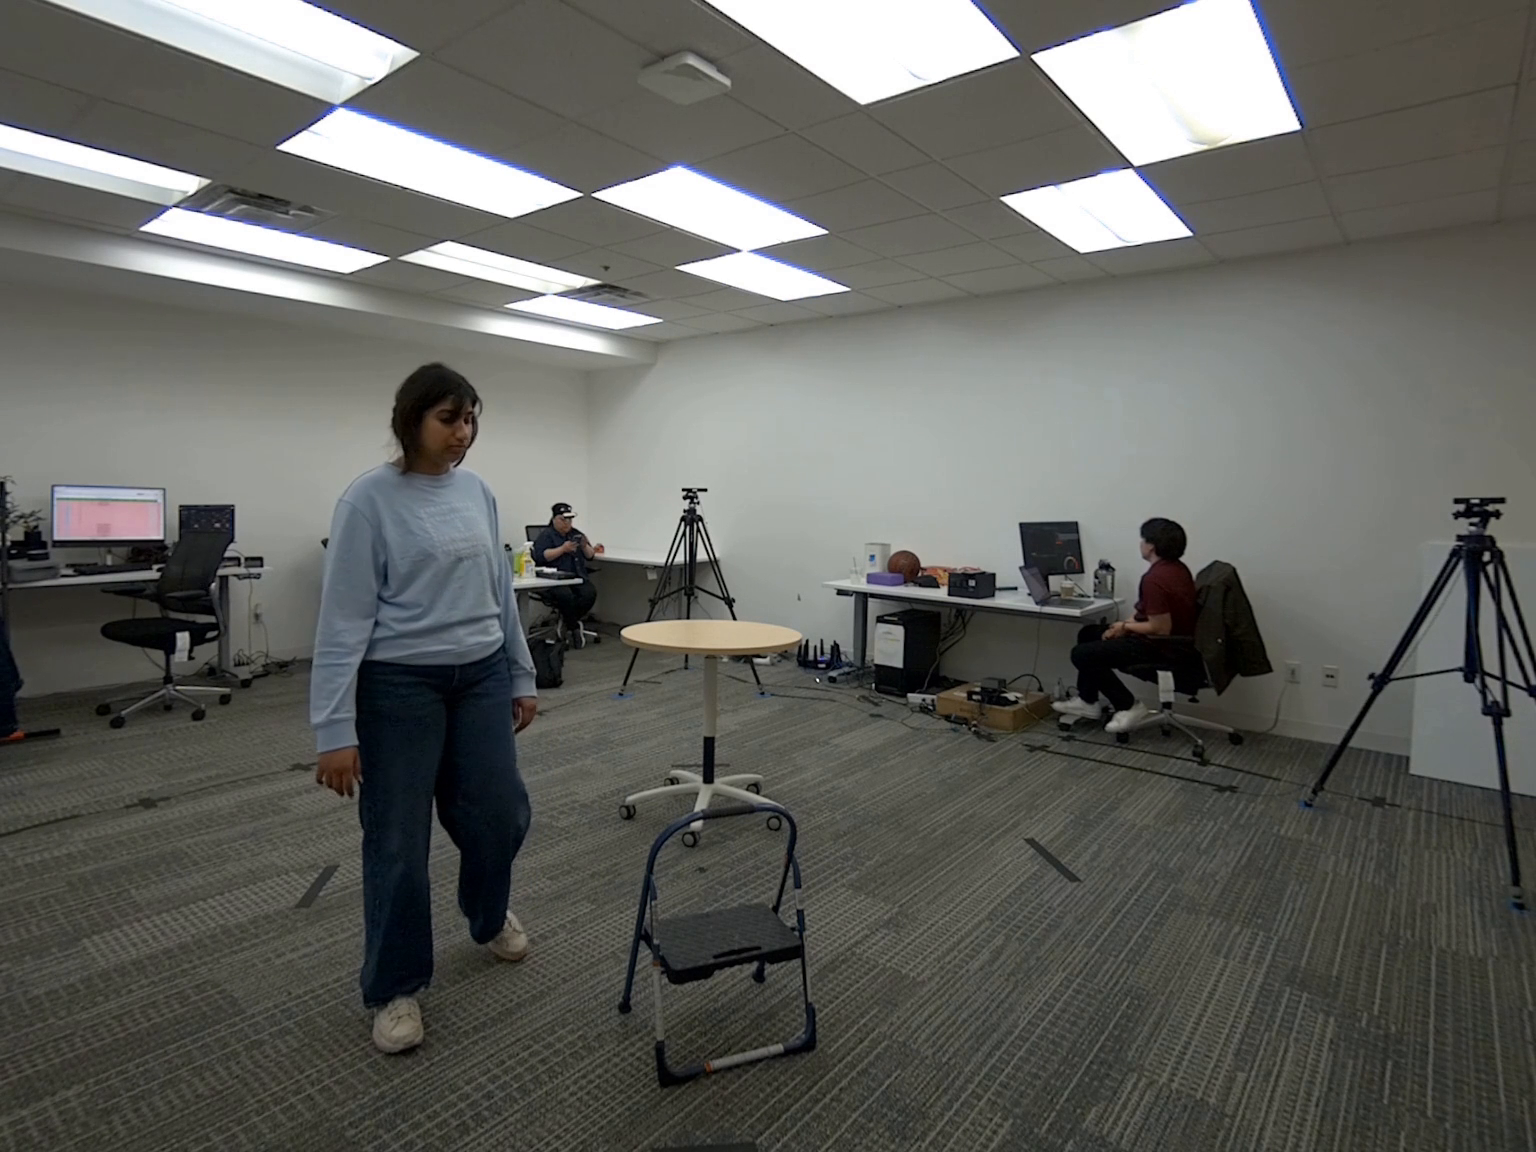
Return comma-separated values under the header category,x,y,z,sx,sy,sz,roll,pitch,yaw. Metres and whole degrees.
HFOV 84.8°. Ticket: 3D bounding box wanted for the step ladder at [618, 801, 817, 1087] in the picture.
category,x,y,z,sx,sy,sz,roll,pitch,yaw
step ladder,-0.138,0.871,2.184,0.421,0.604,0.358,-2,4,-24
